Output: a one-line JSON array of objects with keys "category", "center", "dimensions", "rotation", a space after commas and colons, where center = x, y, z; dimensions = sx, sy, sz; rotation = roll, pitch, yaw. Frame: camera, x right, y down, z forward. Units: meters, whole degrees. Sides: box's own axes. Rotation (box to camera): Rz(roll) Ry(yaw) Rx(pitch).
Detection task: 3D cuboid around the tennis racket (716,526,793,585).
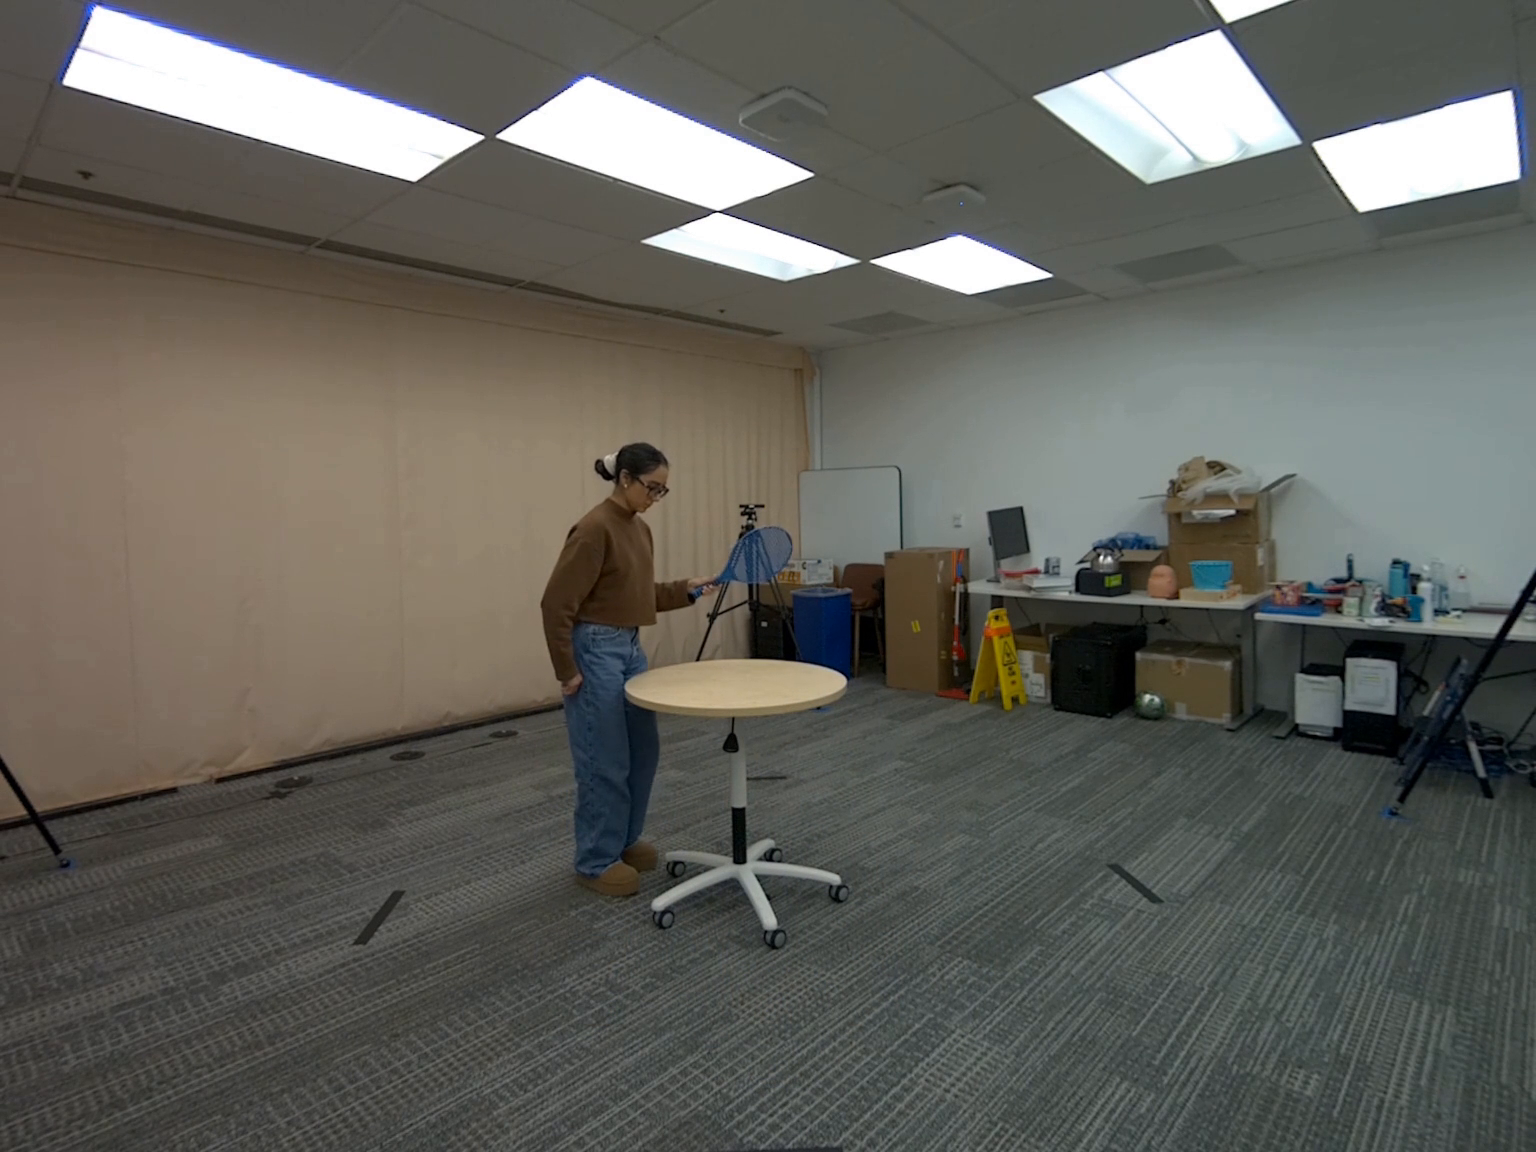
[{"category": "tennis racket", "center": [-0.098, -0.027, 3.181], "dimensions": [0.432, 0.210, 0.032], "rotation": [-30, 14, -2]}]
